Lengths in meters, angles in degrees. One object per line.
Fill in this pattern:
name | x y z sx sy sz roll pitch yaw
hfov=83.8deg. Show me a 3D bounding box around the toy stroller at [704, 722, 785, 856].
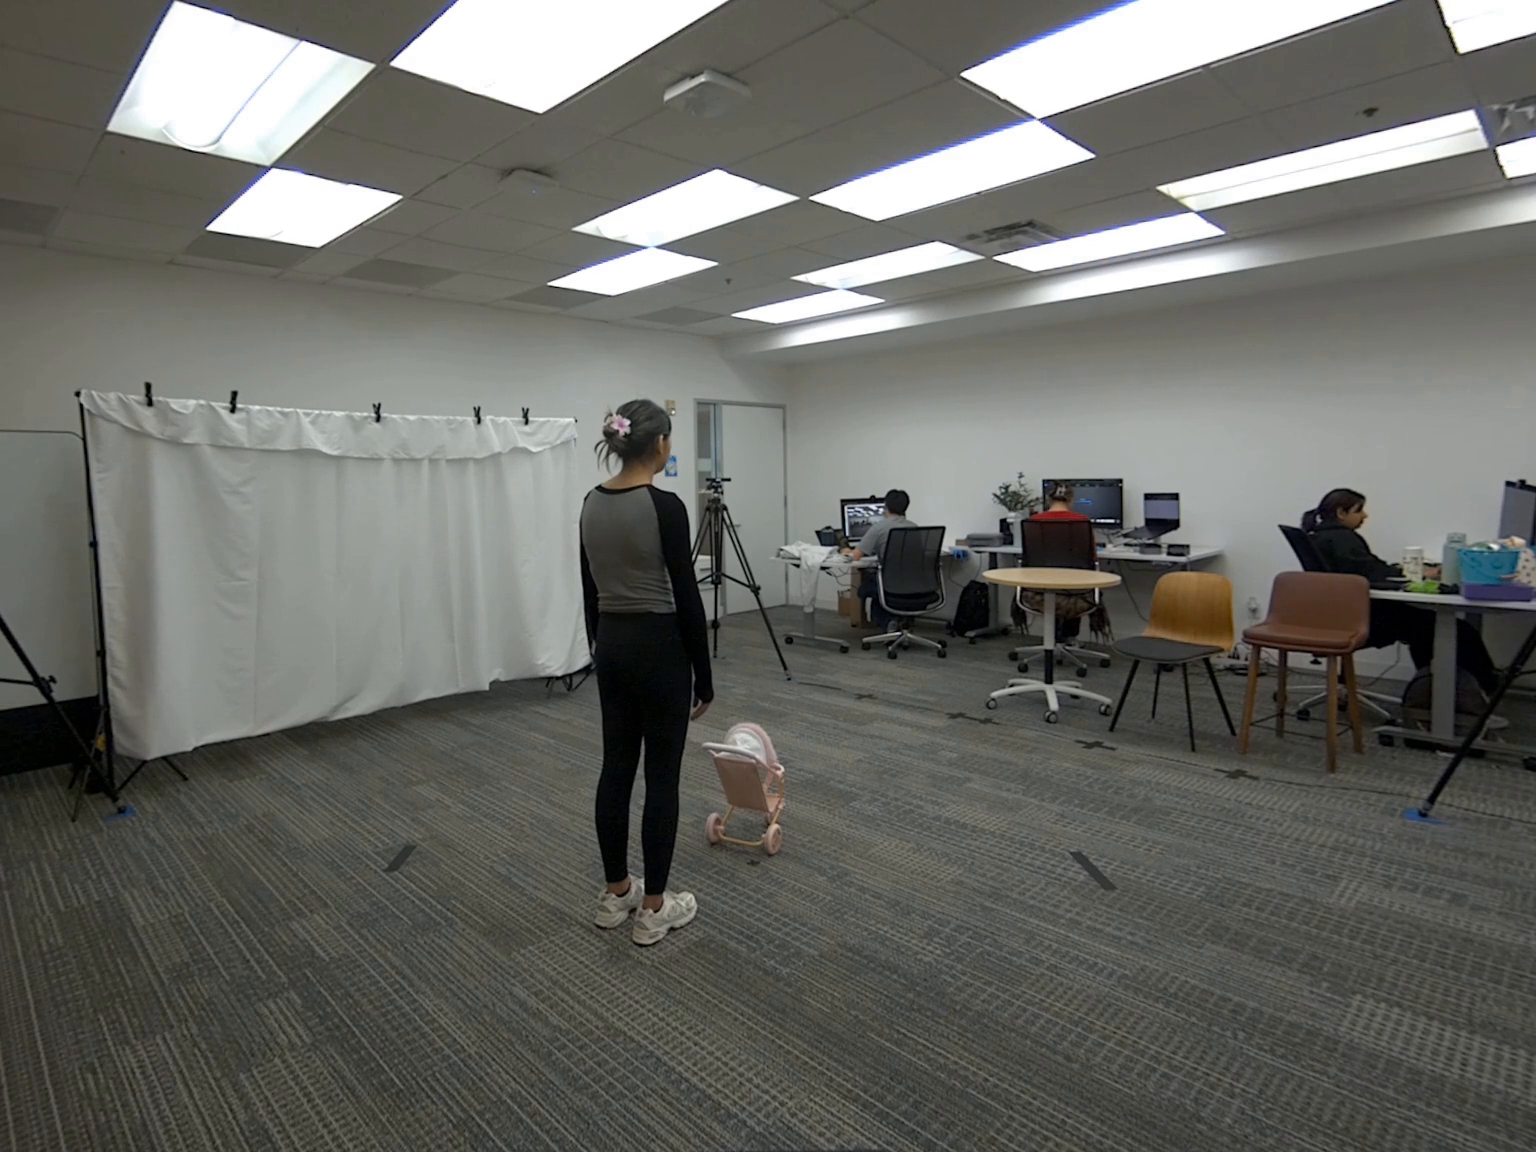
toy stroller | -0.065 0.797 3.279 0.289 0.526 0.338 2 20 28
